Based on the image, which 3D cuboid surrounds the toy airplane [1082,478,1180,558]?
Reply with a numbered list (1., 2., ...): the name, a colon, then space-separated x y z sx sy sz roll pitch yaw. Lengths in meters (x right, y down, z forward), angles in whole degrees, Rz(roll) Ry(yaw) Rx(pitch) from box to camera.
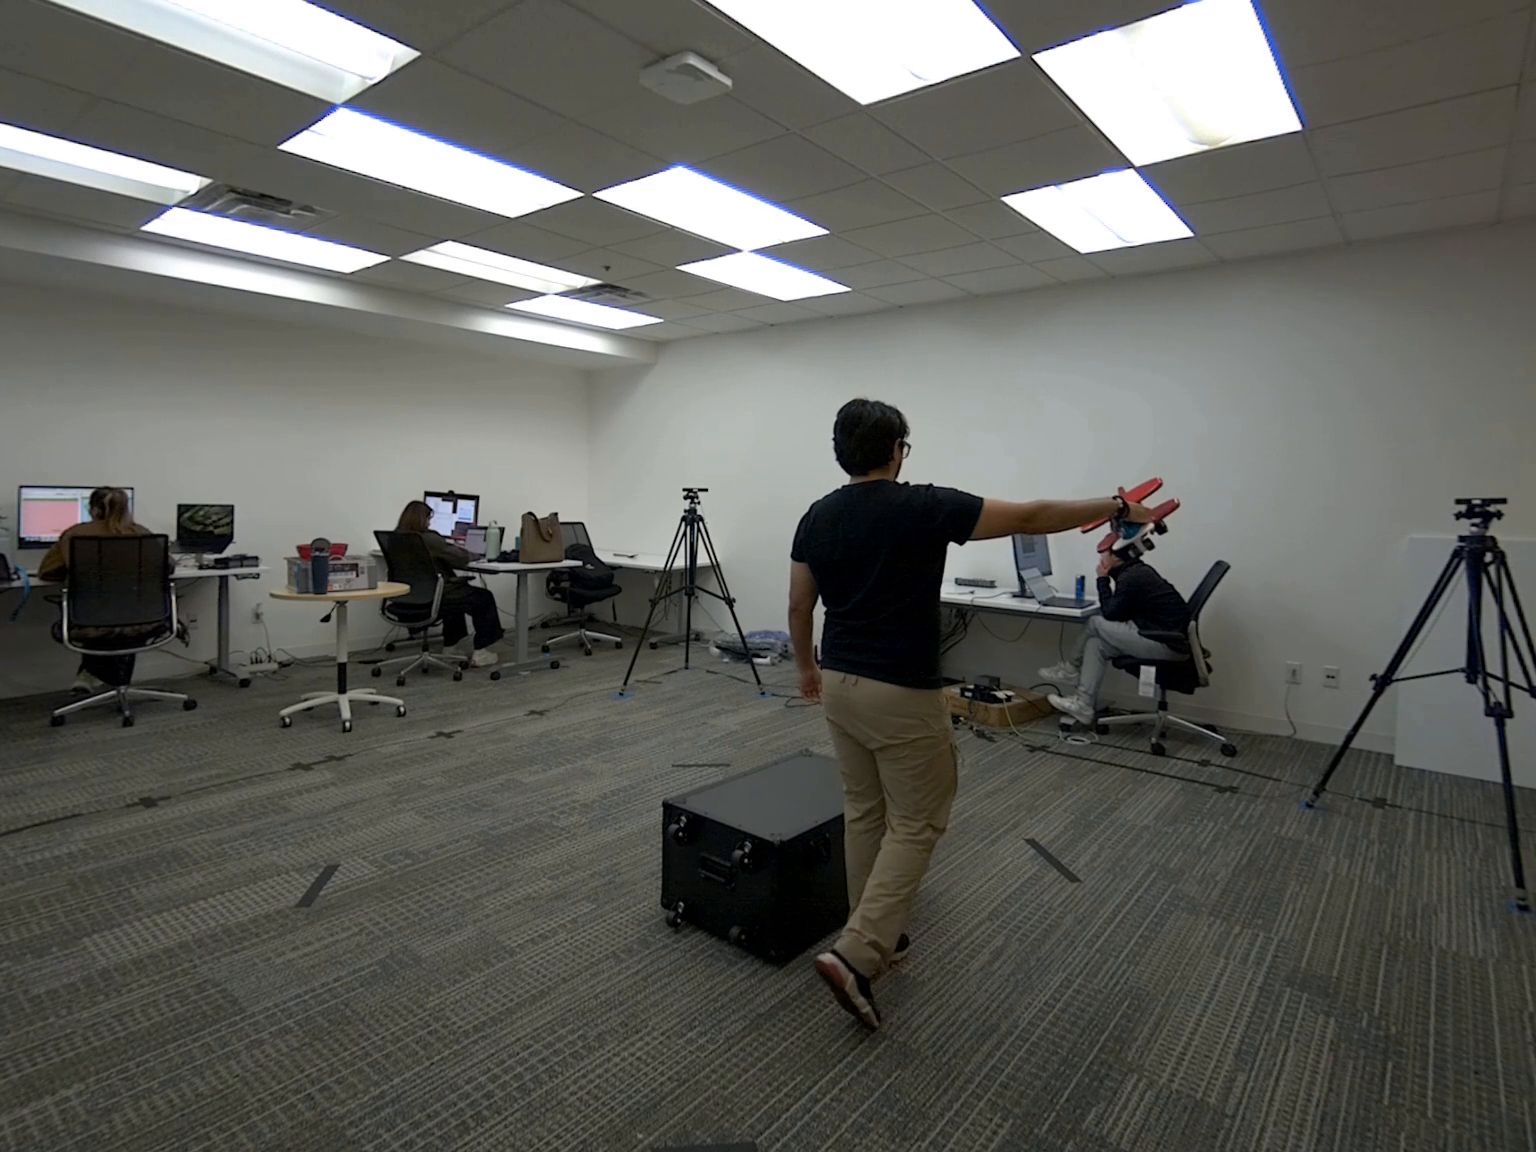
1. toy airplane: 1.042 -0.156 2.384 0.251 0.158 0.256 -34 -7 3
